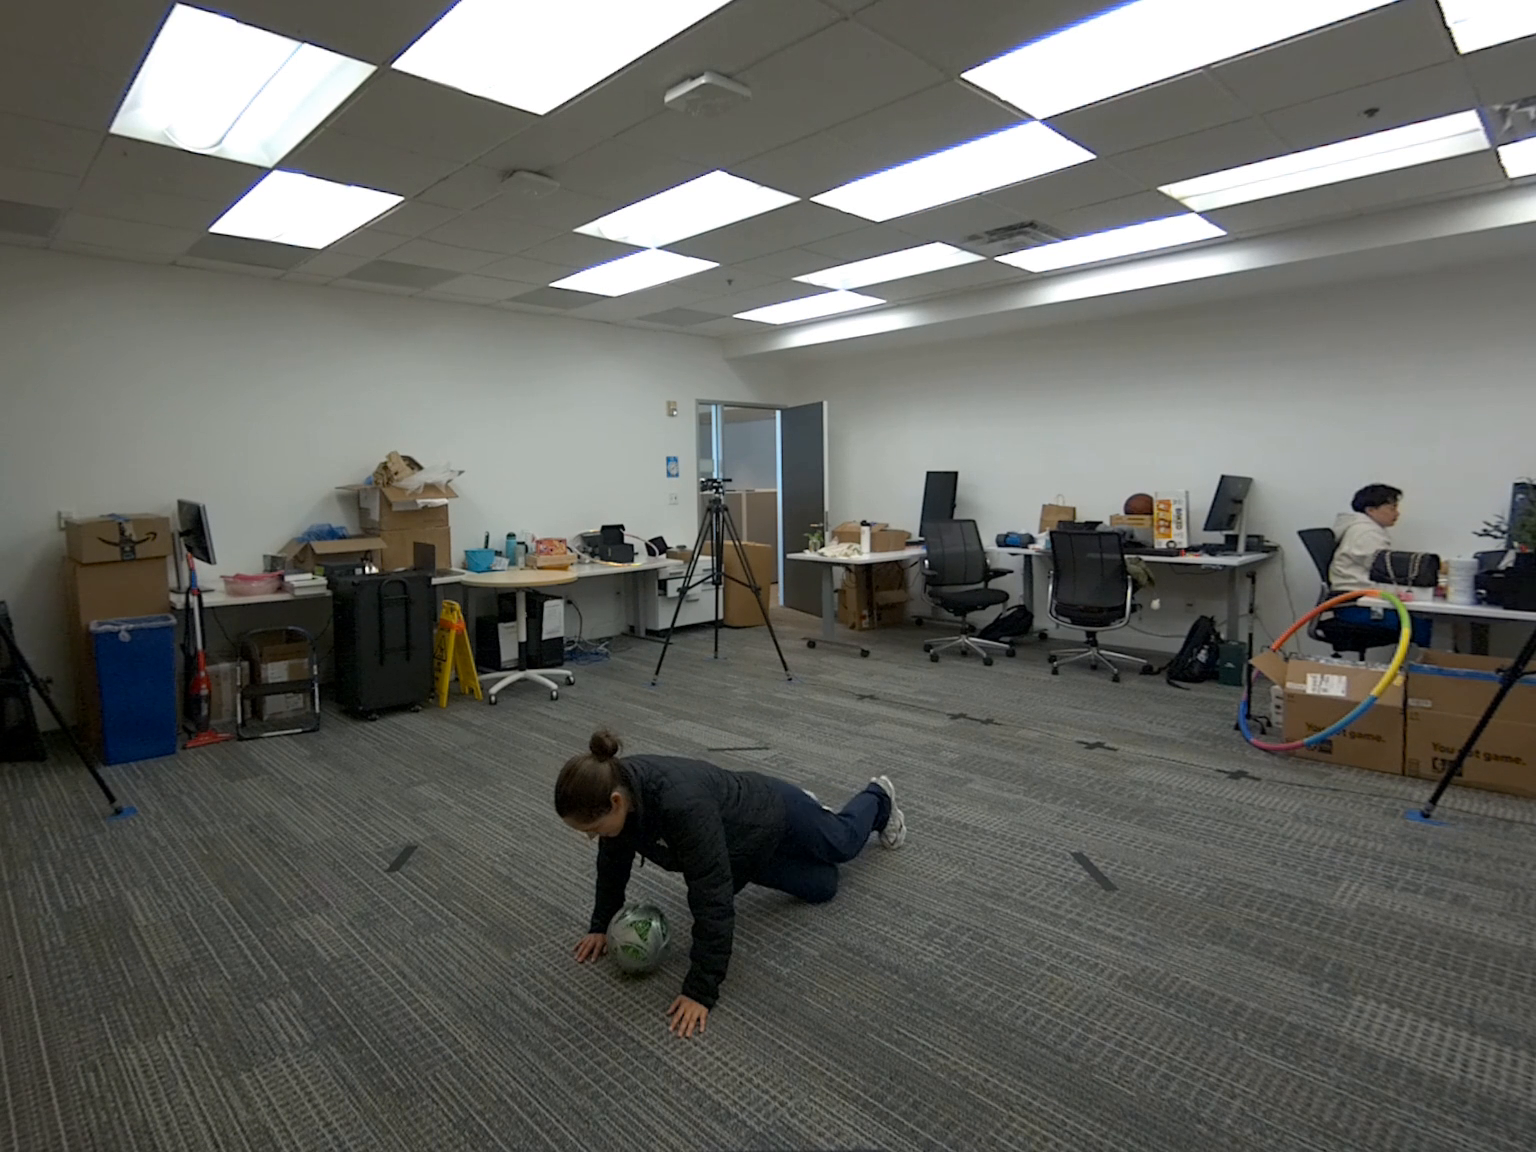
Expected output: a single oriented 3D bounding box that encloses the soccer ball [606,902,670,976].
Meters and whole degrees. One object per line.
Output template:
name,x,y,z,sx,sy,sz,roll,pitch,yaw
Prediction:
soccer ball,-0.363,1.043,2.439,0.187,0.187,0.188,-1,5,-2
